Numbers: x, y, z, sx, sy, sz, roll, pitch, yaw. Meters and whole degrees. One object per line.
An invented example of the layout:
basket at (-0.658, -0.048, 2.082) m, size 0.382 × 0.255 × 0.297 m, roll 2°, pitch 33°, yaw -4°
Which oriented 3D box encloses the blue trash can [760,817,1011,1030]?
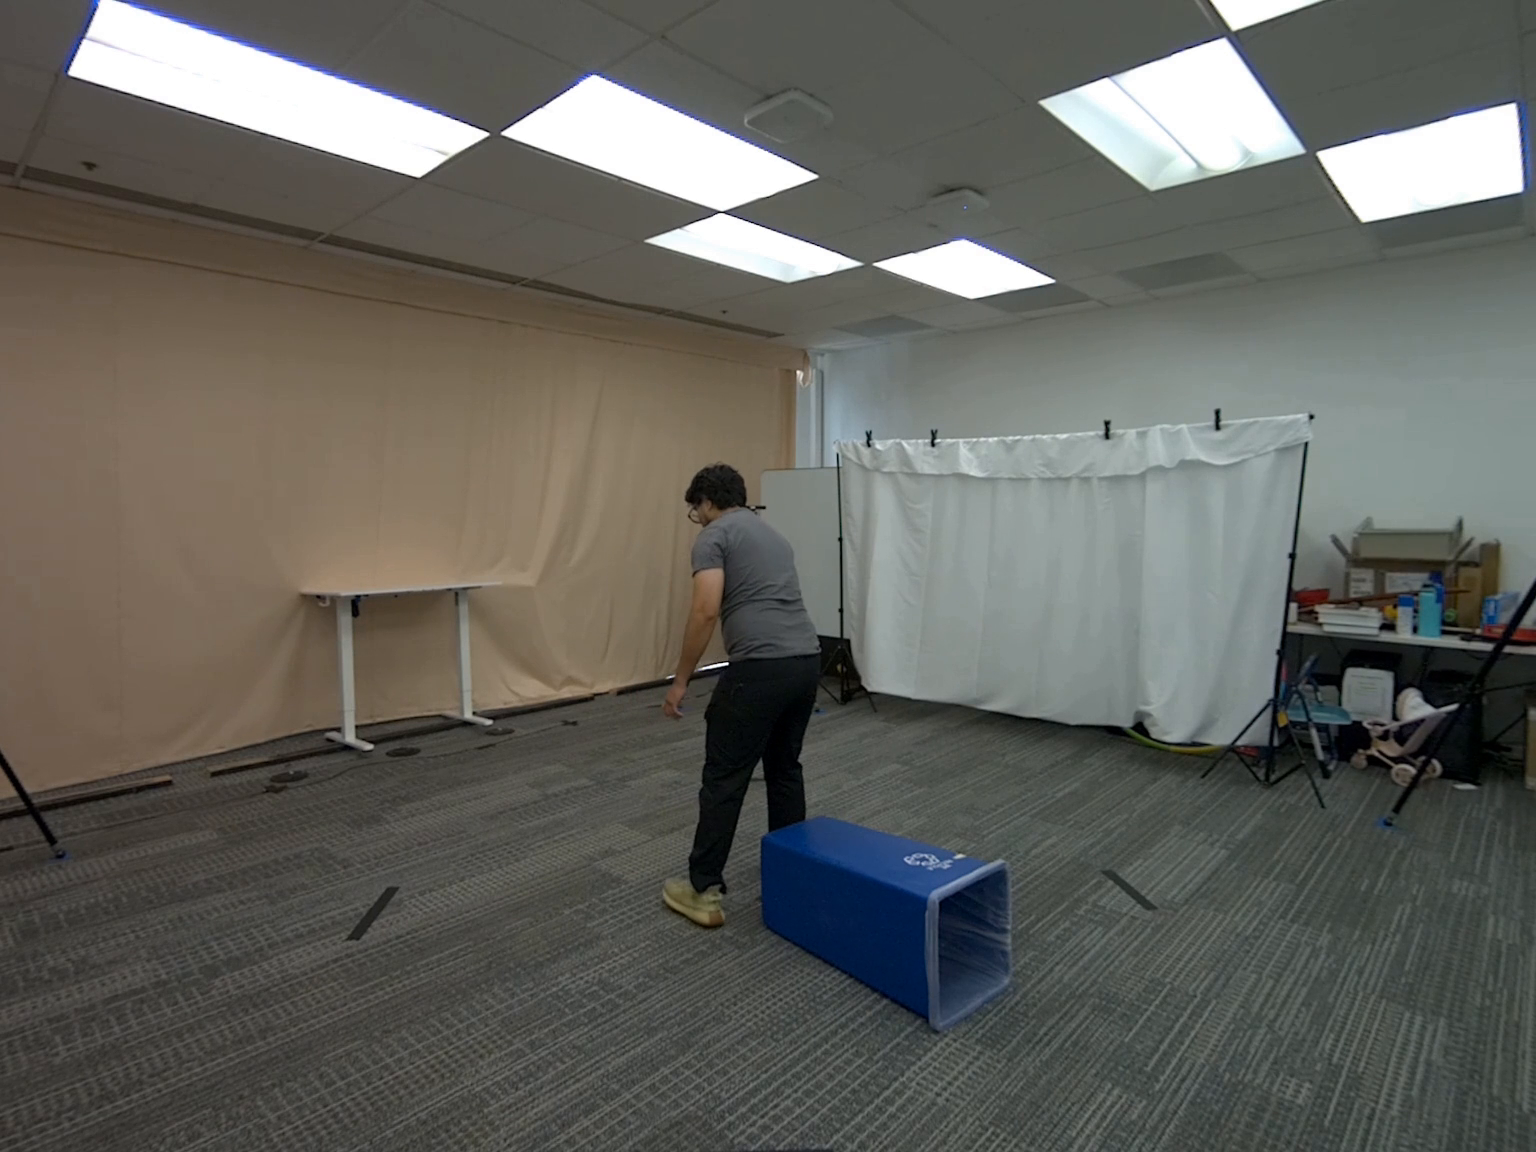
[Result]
blue trash can at (0.336, 0.999, 2.589) m, size 0.366 × 0.373 × 0.737 m, roll -3°, pitch 3°, yaw -41°
